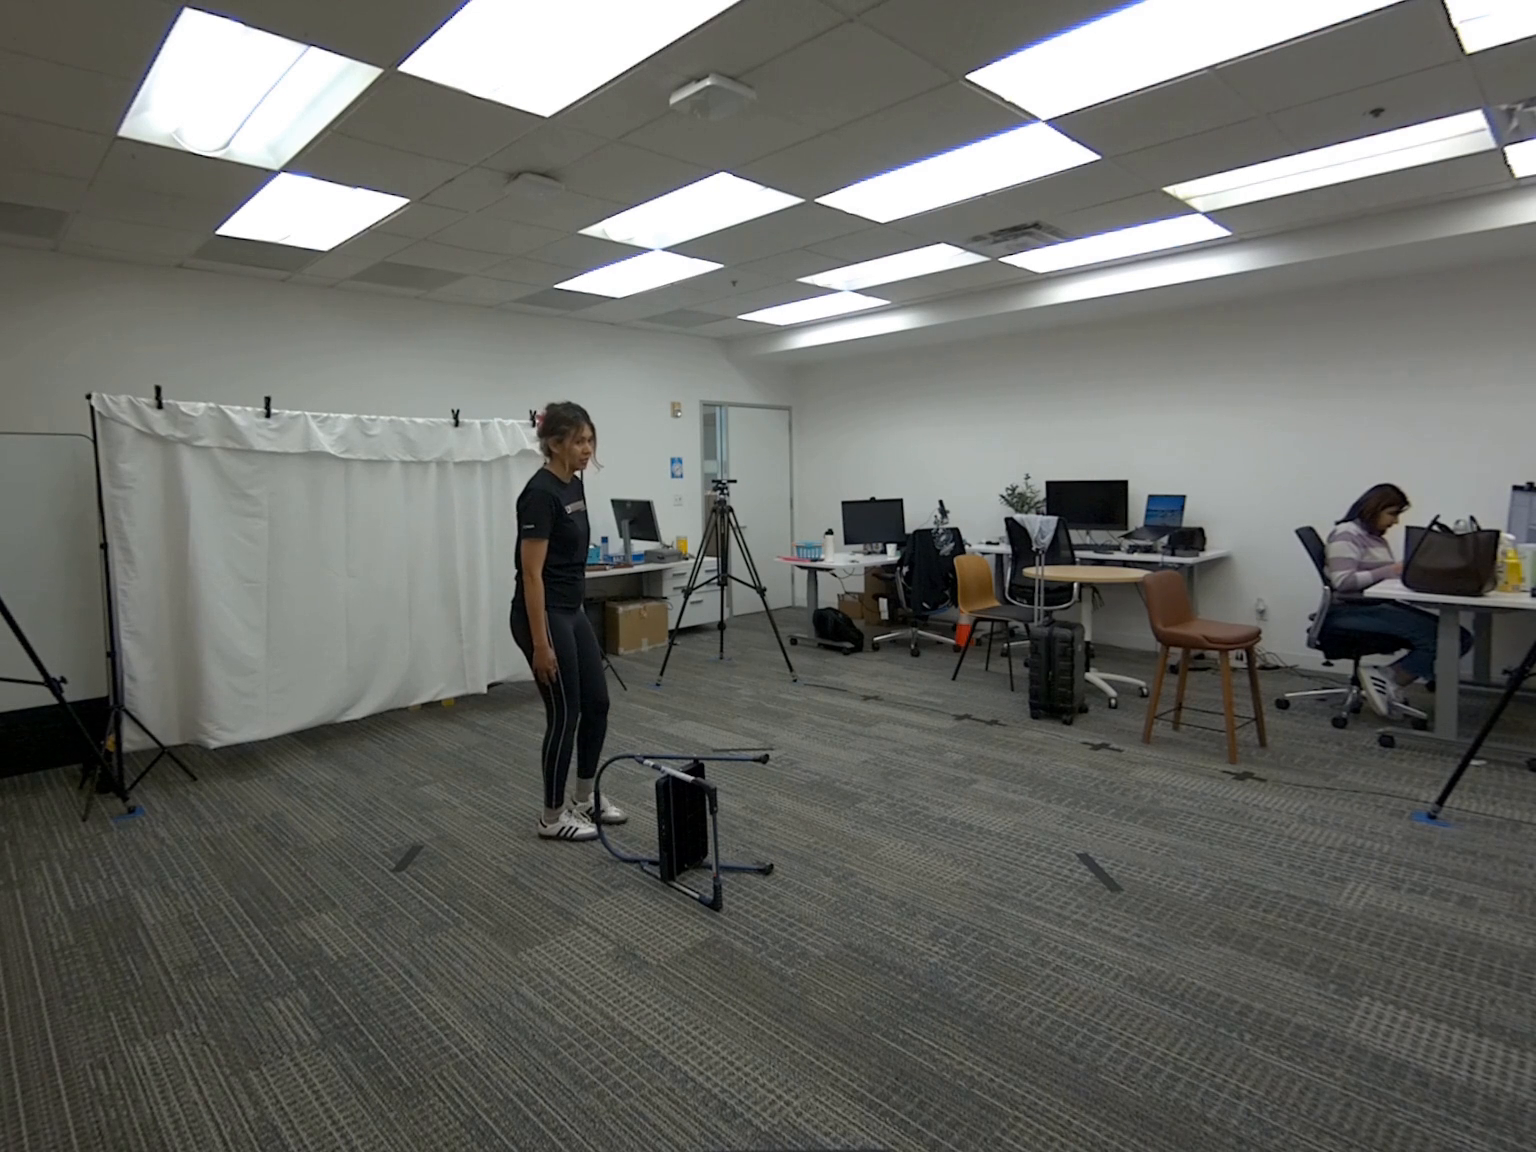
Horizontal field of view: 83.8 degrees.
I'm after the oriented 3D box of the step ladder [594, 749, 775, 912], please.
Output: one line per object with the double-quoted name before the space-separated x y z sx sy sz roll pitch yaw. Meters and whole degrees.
"step ladder" -0.339 0.856 3.050 0.622 0.429 0.341 1 5 33
